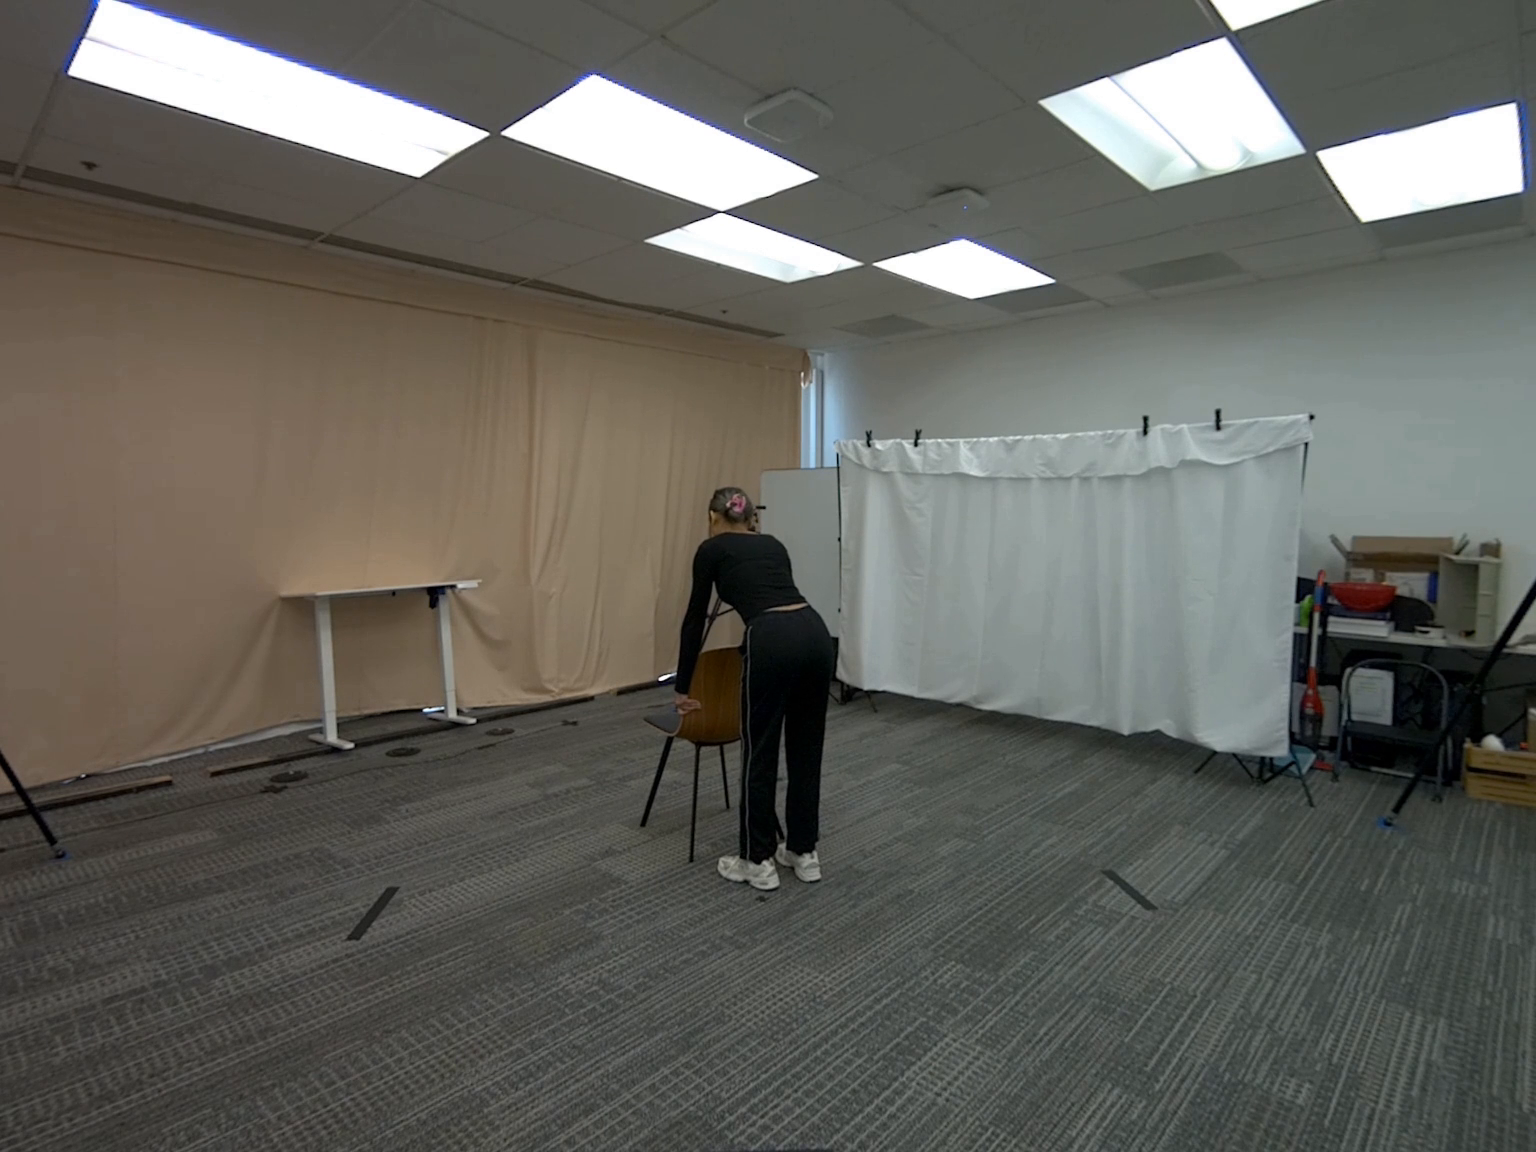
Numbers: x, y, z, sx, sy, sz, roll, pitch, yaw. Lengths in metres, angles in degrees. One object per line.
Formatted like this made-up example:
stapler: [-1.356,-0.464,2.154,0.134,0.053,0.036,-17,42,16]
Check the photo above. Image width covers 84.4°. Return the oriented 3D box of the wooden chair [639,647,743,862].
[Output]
wooden chair: [-0.254,0.669,3.569,0.465,0.874,0.540,-2,8,-32]
